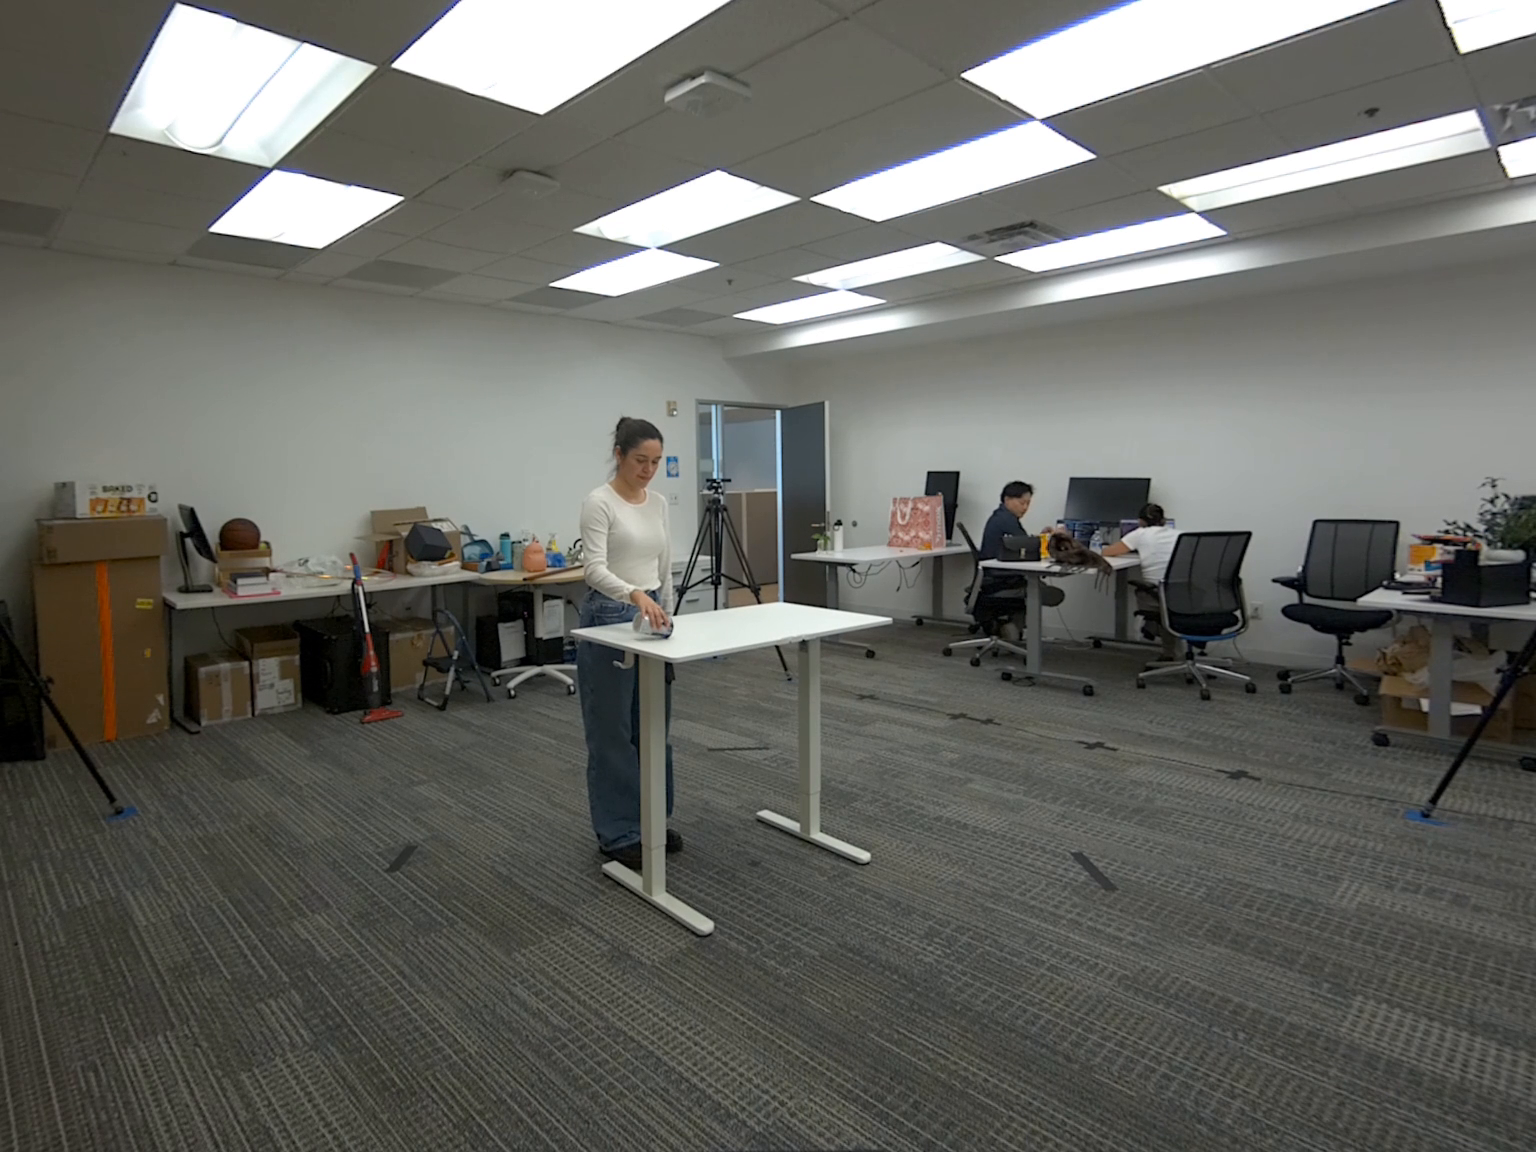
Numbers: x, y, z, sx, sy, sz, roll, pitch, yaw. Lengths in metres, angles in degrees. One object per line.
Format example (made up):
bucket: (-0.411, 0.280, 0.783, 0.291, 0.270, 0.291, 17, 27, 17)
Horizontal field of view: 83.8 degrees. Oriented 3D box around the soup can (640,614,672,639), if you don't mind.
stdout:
soup can: (-0.334, 0.166, 2.762, 0.068, 0.067, 0.120, 0, -1, 10)
